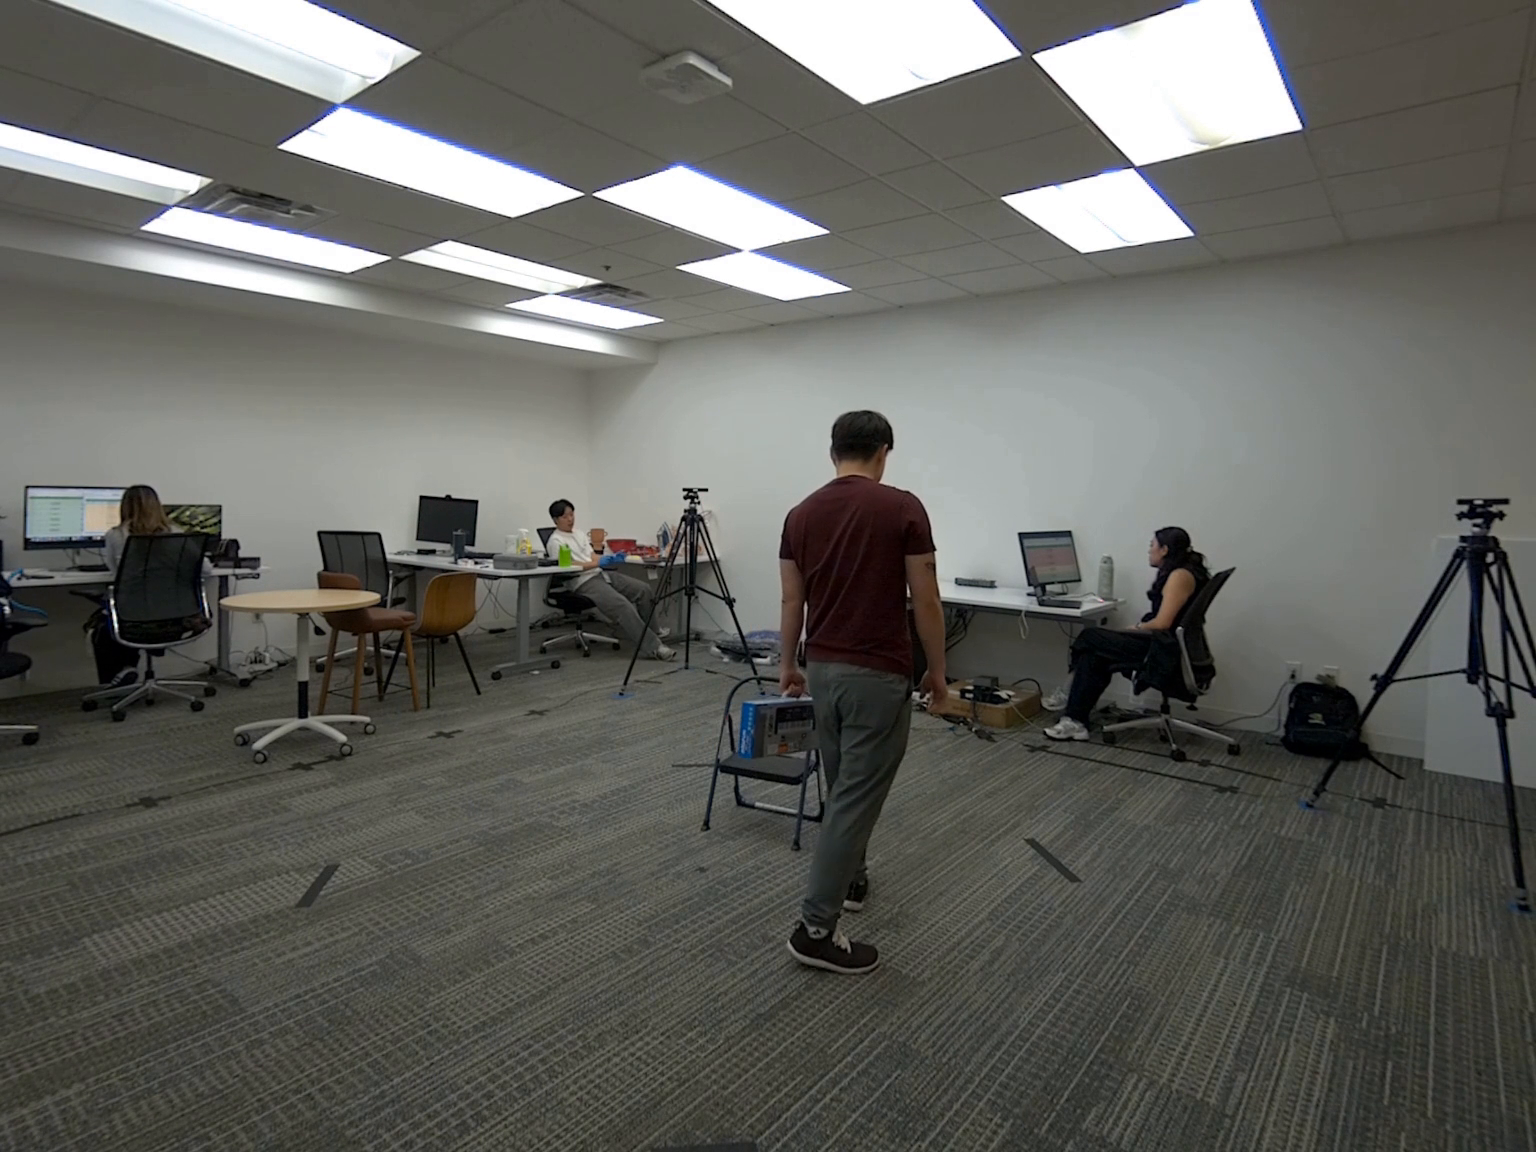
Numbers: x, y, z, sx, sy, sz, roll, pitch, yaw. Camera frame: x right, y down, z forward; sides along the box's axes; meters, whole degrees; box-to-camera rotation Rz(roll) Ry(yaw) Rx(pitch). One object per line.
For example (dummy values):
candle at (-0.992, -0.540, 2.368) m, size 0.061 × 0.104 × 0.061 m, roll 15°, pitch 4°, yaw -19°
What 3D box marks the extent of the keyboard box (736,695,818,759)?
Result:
keyboard box at (0.066, 0.494, 2.845) m, size 0.061 × 0.176 × 0.422 m, roll 2°, pitch -3°, yaw 41°
